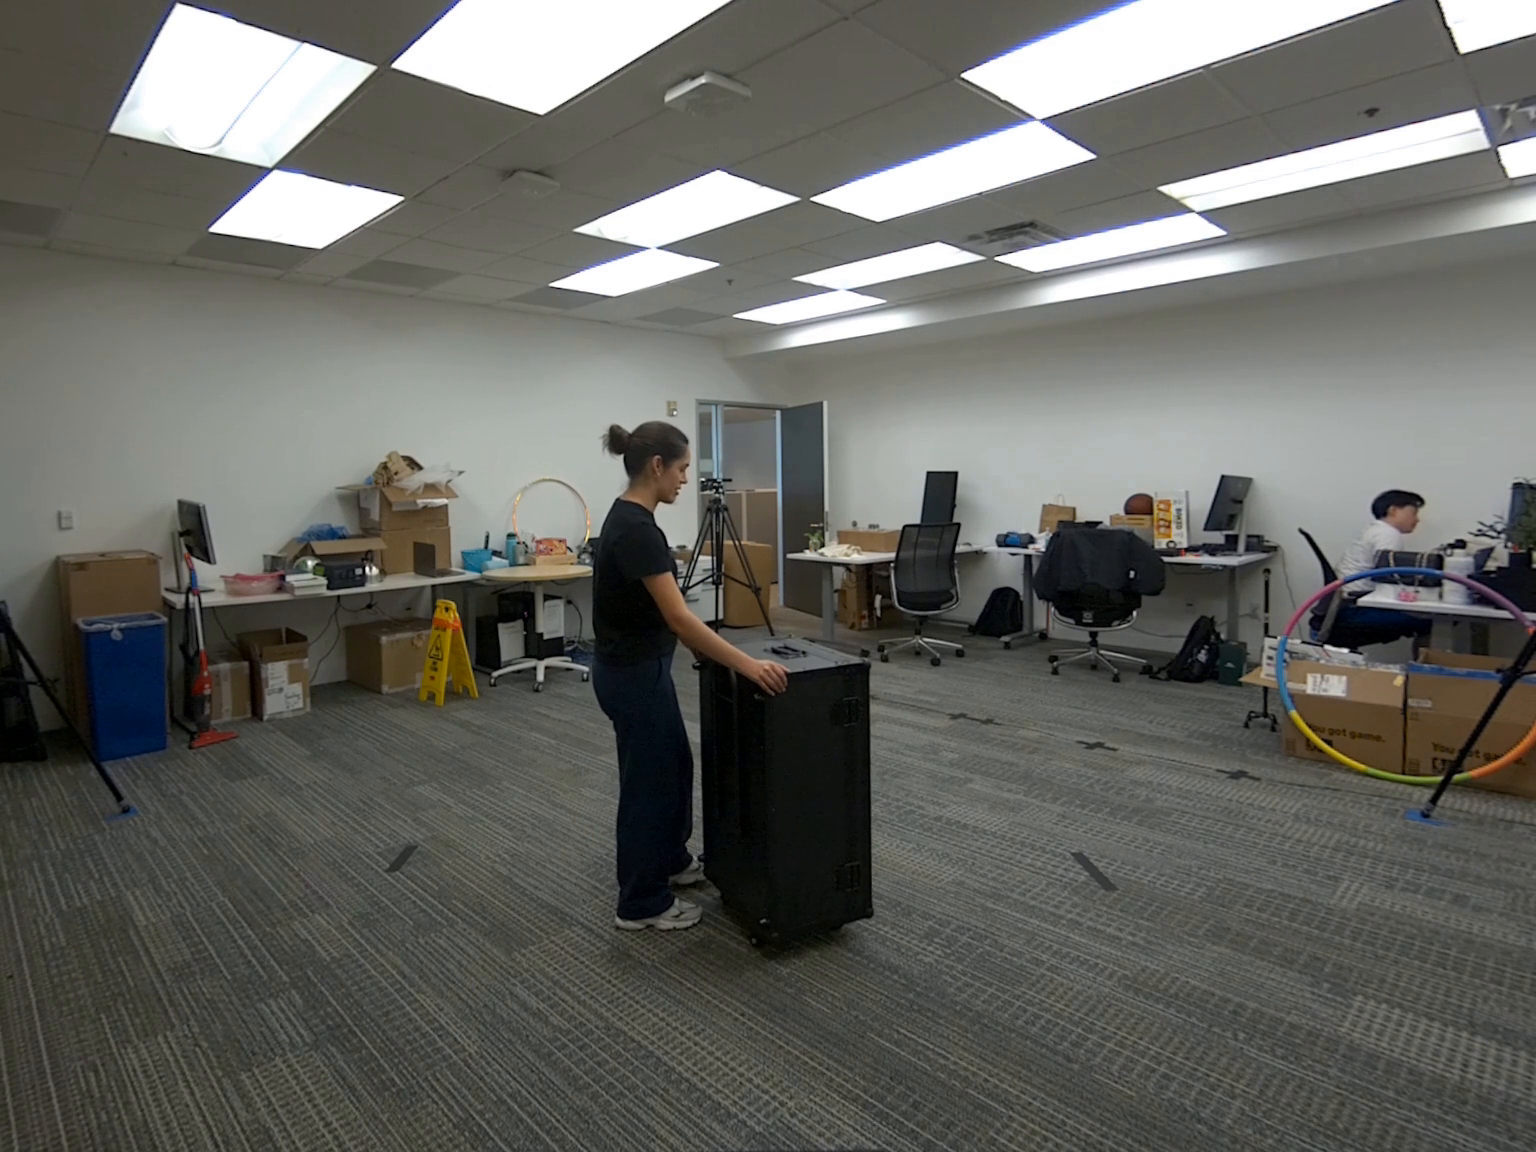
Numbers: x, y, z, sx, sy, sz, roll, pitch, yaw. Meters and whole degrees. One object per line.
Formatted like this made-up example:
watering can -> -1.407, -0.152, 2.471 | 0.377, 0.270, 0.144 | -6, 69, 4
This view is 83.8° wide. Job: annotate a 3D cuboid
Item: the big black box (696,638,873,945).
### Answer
big black box -> 0.040, 0.659, 2.696 | 0.388, 0.858, 0.534 | -4, 6, -26
